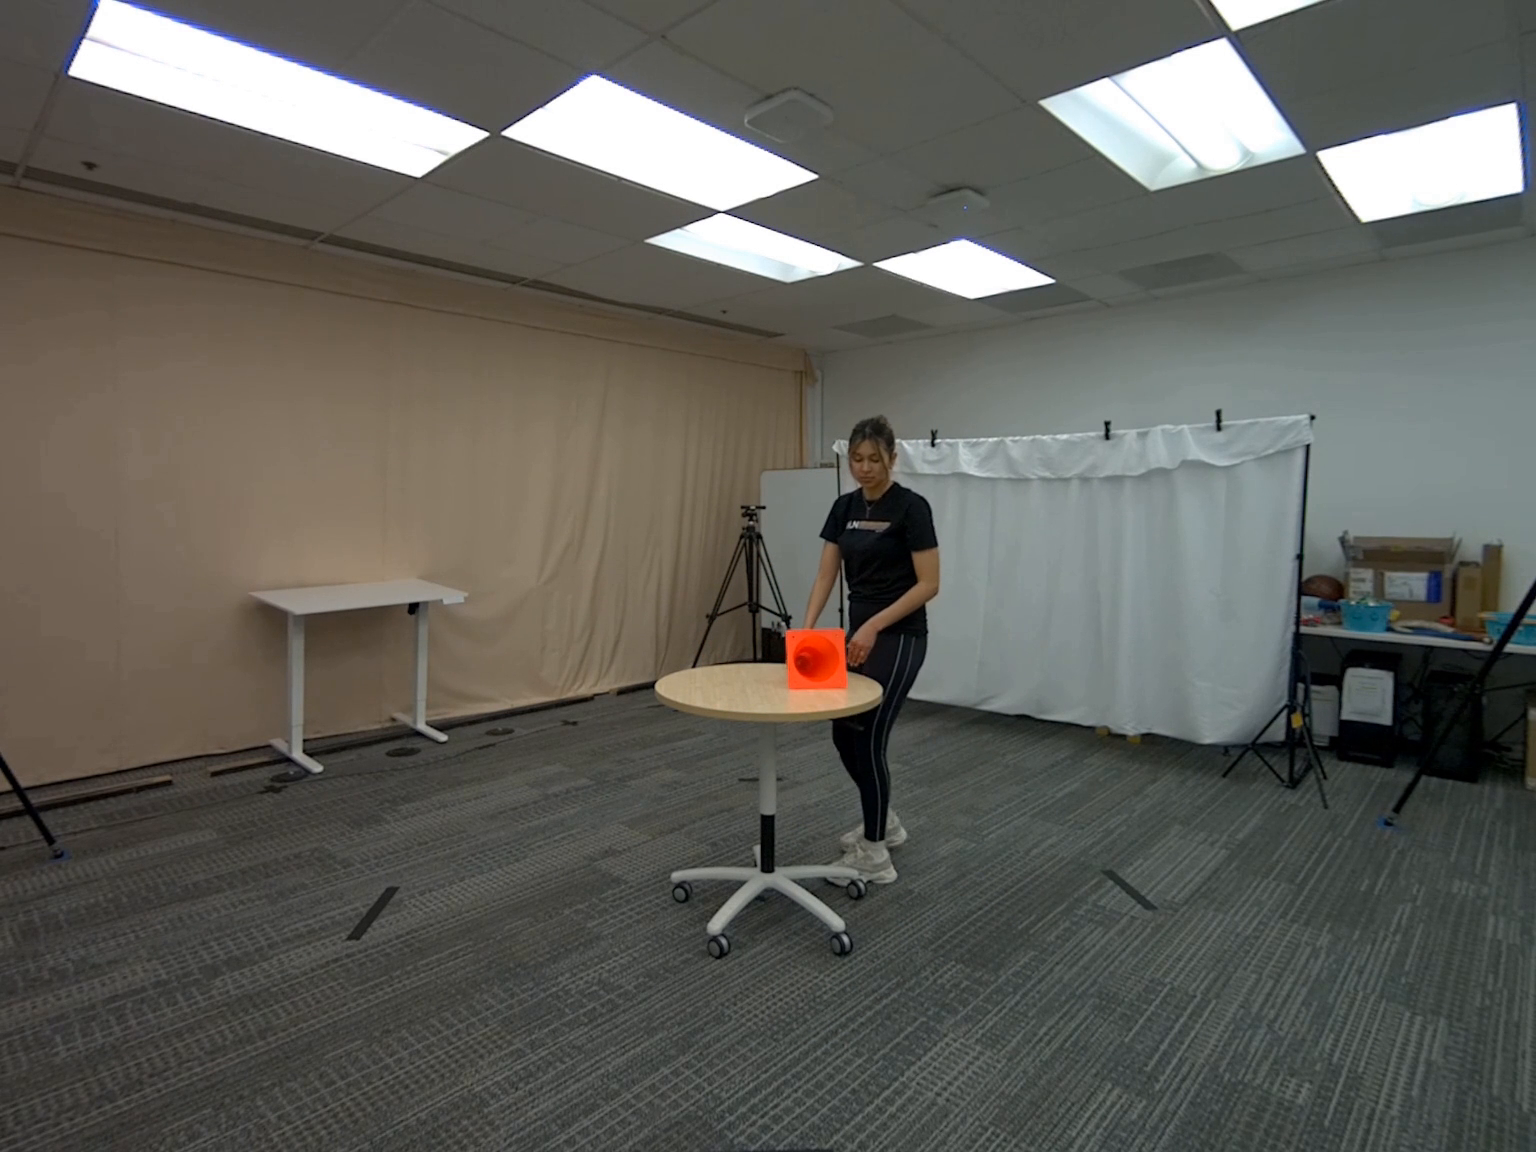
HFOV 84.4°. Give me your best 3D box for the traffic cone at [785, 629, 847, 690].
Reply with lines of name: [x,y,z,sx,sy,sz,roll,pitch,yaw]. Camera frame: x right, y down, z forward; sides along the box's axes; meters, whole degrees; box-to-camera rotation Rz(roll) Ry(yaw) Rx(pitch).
traffic cone: [0.143,0.303,2.996,0.204,0.204,0.383,-5,-7,-6]
